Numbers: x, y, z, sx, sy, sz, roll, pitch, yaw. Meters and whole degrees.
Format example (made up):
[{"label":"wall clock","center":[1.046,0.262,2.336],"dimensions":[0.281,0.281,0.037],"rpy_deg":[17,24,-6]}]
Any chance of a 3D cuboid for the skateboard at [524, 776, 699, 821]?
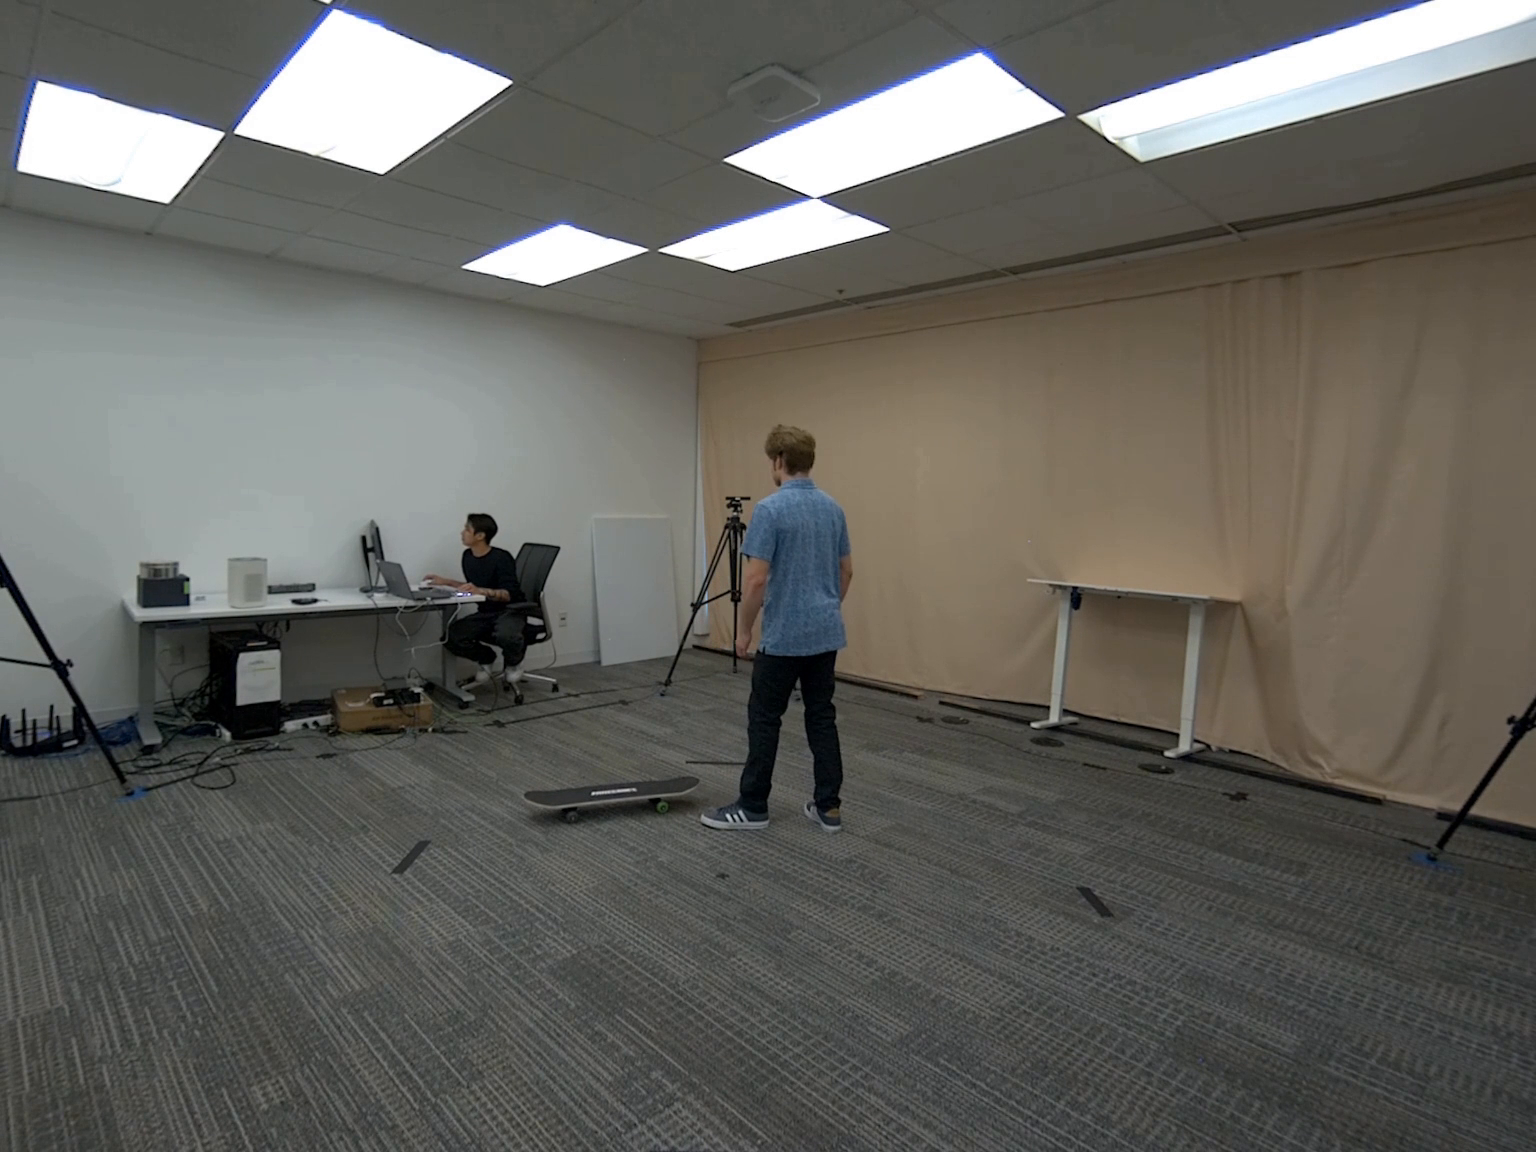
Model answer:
[{"label":"skateboard","center":[-0.677,0.980,3.708],"dimensions":[0.773,0.110,0.197],"rpy_deg":[0,5,-21]}]
